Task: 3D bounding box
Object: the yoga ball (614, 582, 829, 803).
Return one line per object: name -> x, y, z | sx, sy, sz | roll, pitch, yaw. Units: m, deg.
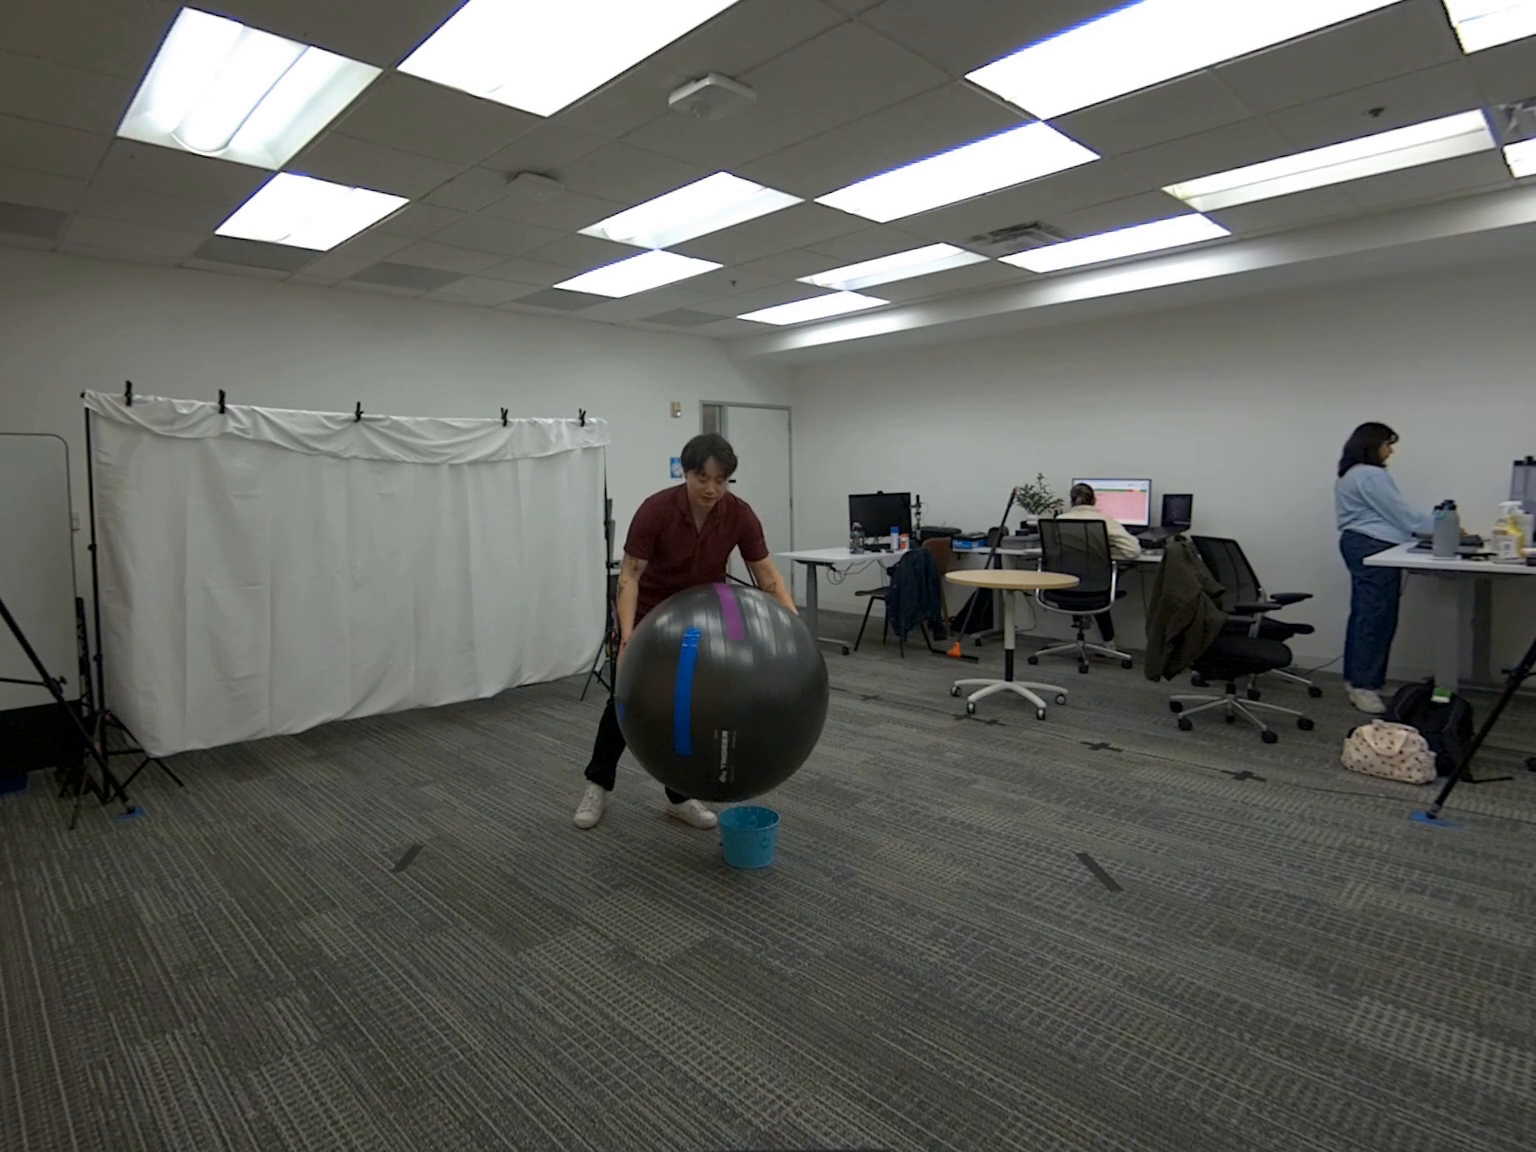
yoga ball -> -0.172, 0.408, 3.031 | 0.757, 0.755, 0.762 | -1, 5, -2
